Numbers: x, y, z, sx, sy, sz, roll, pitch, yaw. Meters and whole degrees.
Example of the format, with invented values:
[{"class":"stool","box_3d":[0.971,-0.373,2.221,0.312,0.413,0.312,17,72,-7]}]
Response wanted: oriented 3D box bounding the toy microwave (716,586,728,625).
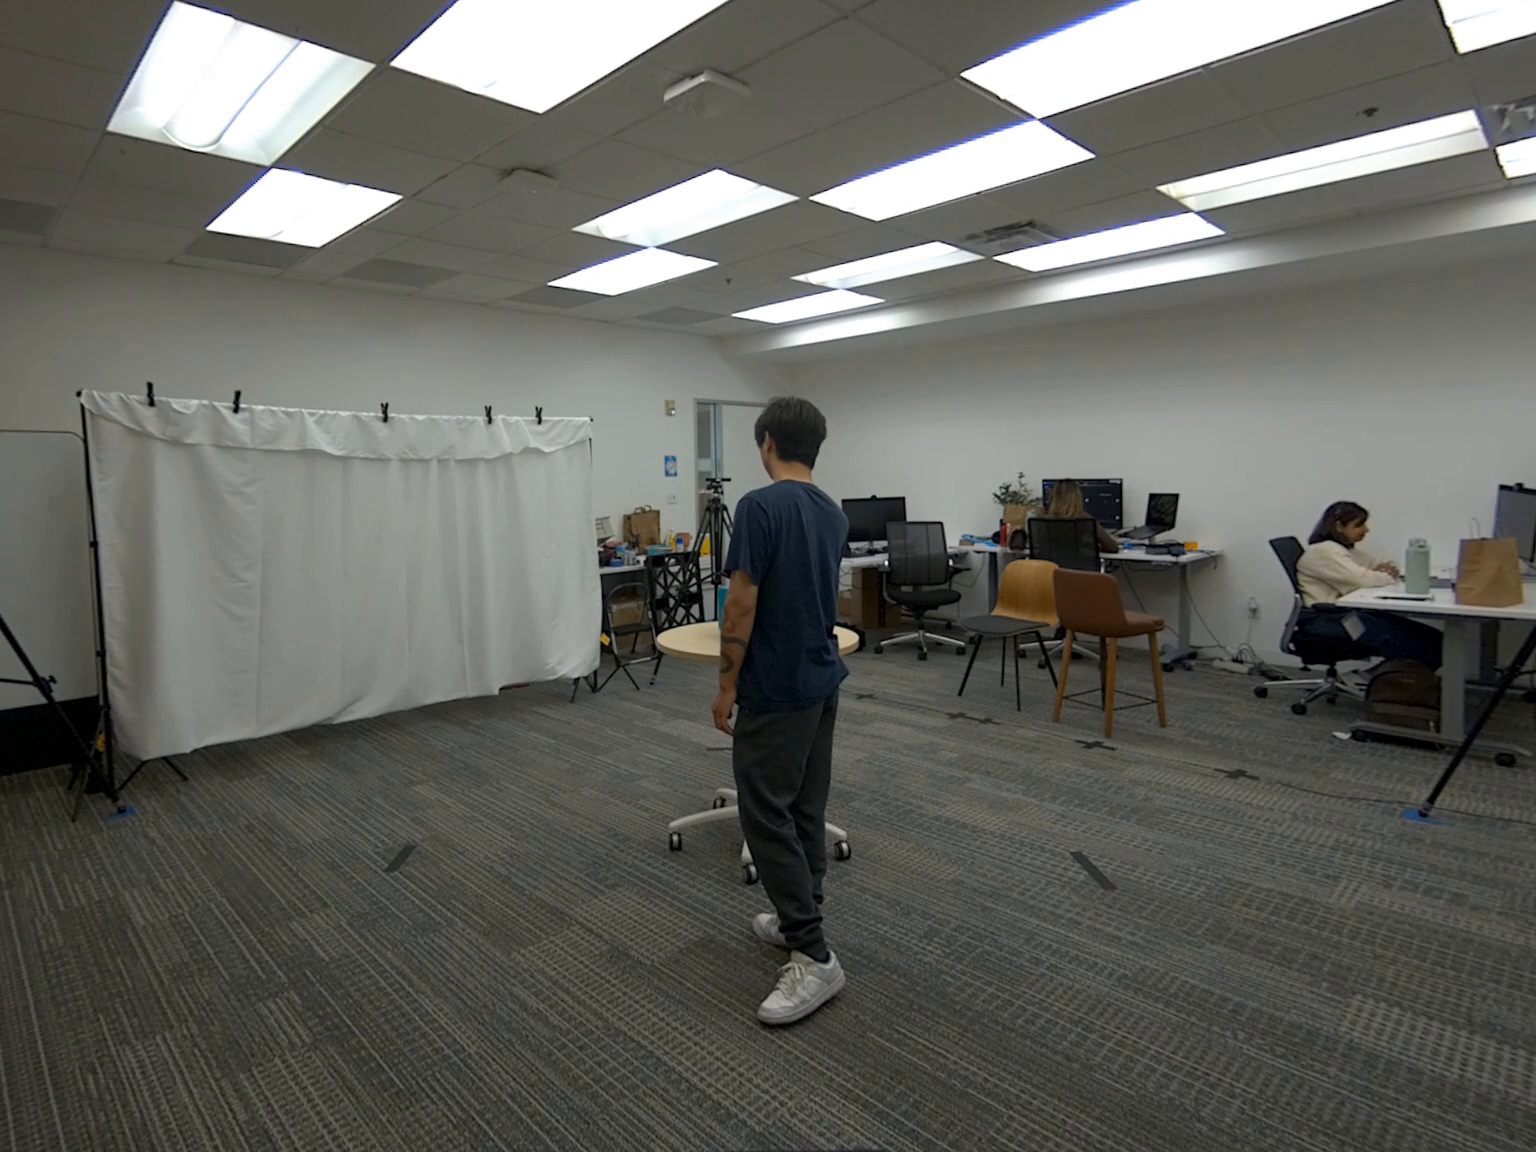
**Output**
[{"class":"toy microwave","box_3d":[-0.048,0.138,3.265,0.148,0.183,0.295,-4,7,-36]}]
